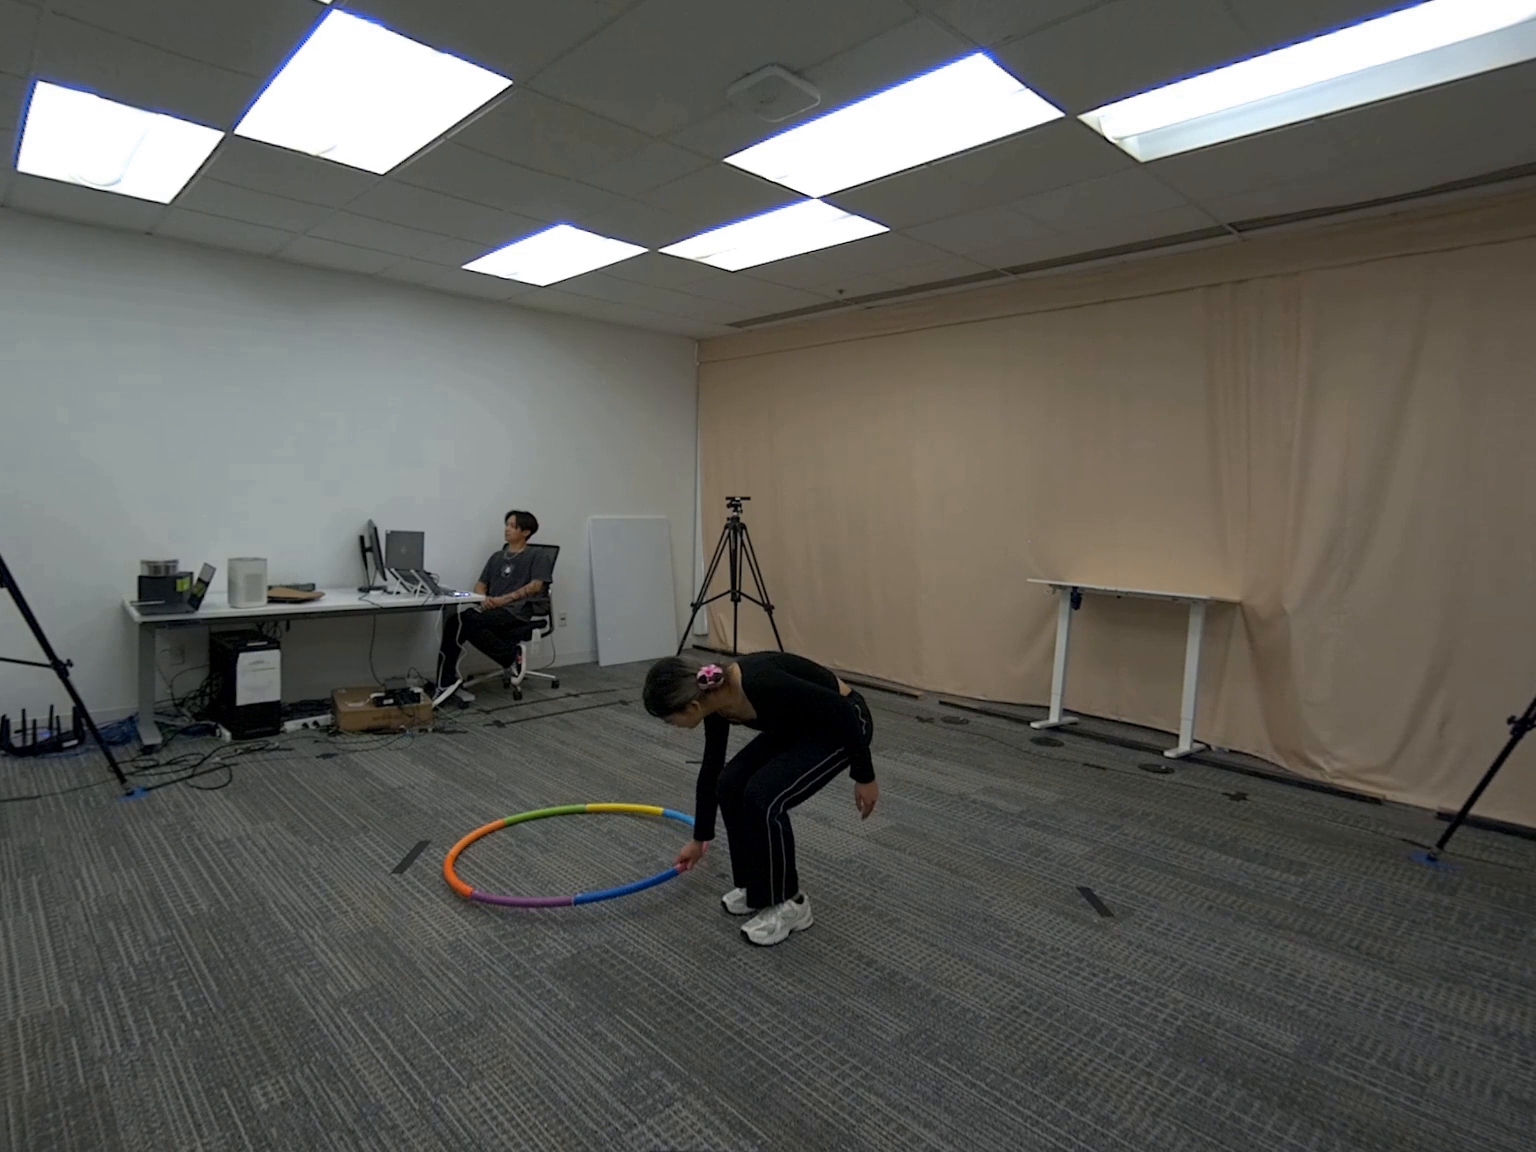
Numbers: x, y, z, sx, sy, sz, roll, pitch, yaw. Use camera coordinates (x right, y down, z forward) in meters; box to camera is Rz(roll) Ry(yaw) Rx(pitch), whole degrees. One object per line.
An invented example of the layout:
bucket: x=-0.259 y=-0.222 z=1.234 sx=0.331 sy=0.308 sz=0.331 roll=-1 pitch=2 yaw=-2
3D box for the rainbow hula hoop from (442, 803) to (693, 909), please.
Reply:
rainbow hula hoop: x=-0.725 y=1.027 z=3.216 sx=0.978 sy=0.035 sz=0.981 roll=-2 pitch=3 yaw=-1
